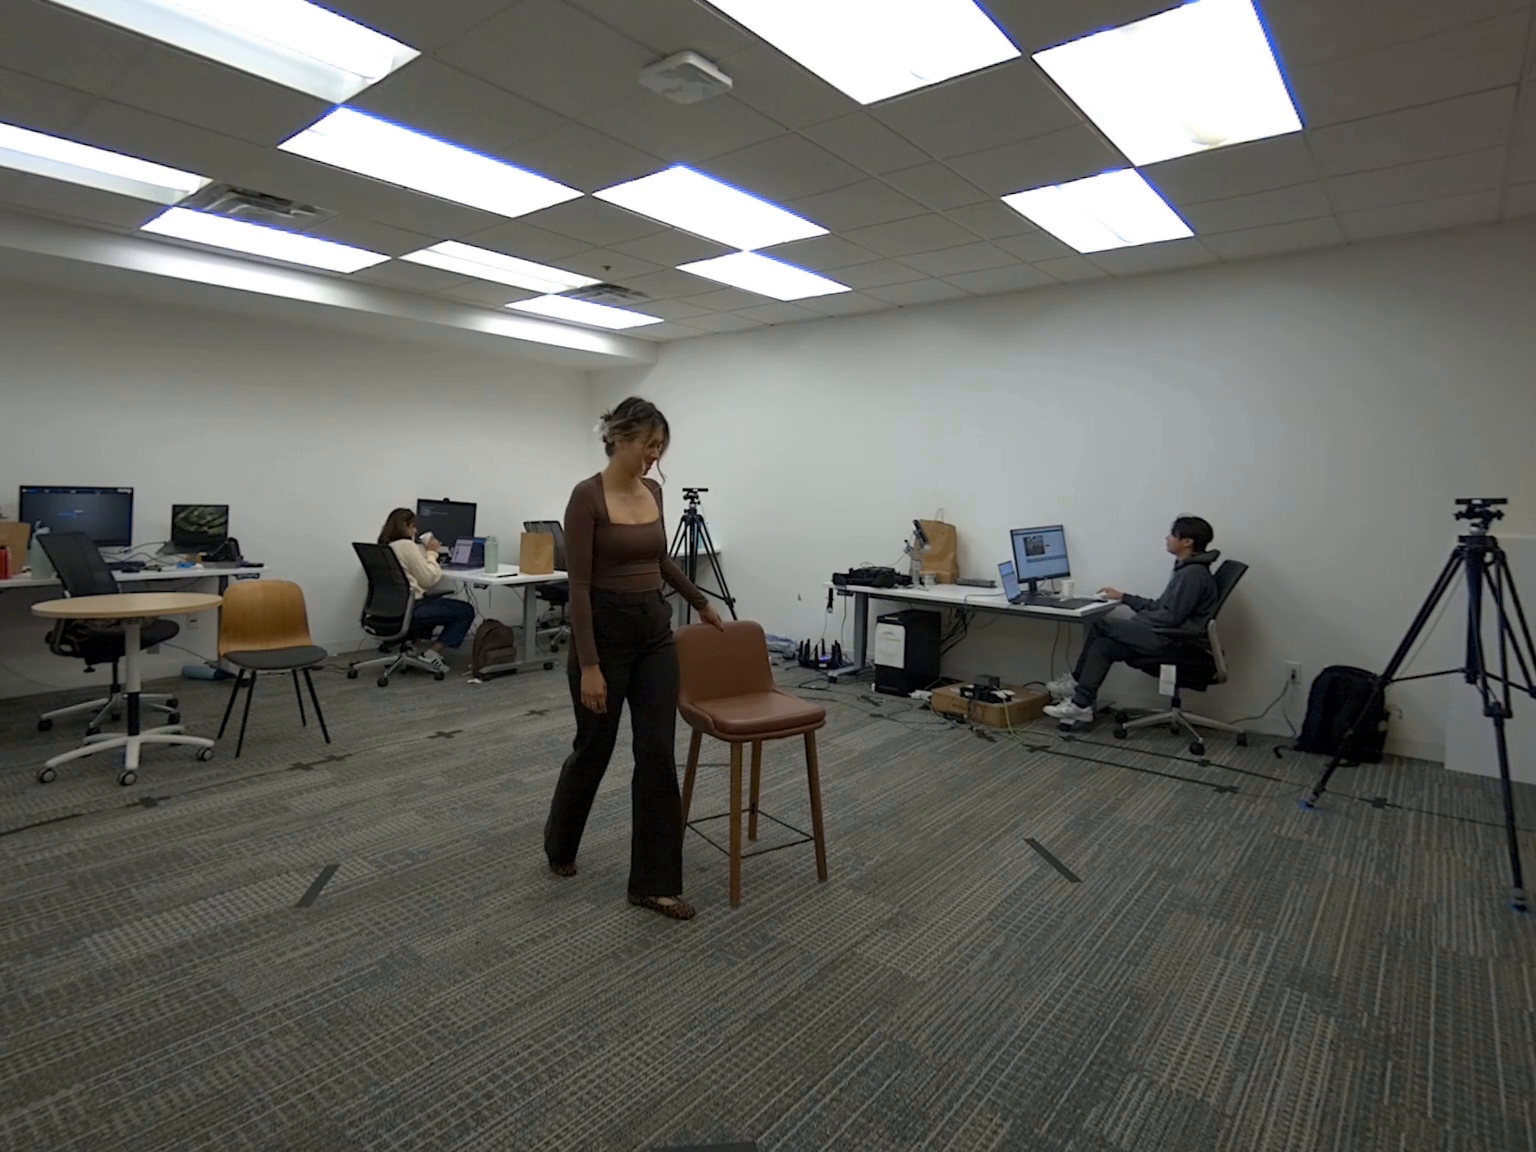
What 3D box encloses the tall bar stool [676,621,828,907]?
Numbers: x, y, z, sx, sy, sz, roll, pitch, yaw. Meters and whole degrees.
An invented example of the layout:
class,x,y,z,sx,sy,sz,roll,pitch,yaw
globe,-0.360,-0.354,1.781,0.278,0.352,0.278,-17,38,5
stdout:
class,x,y,z,sx,sy,sz,roll,pitch,yaw
tall bar stool,-0.081,0.638,3.105,0.443,0.889,0.482,-1,2,-34
